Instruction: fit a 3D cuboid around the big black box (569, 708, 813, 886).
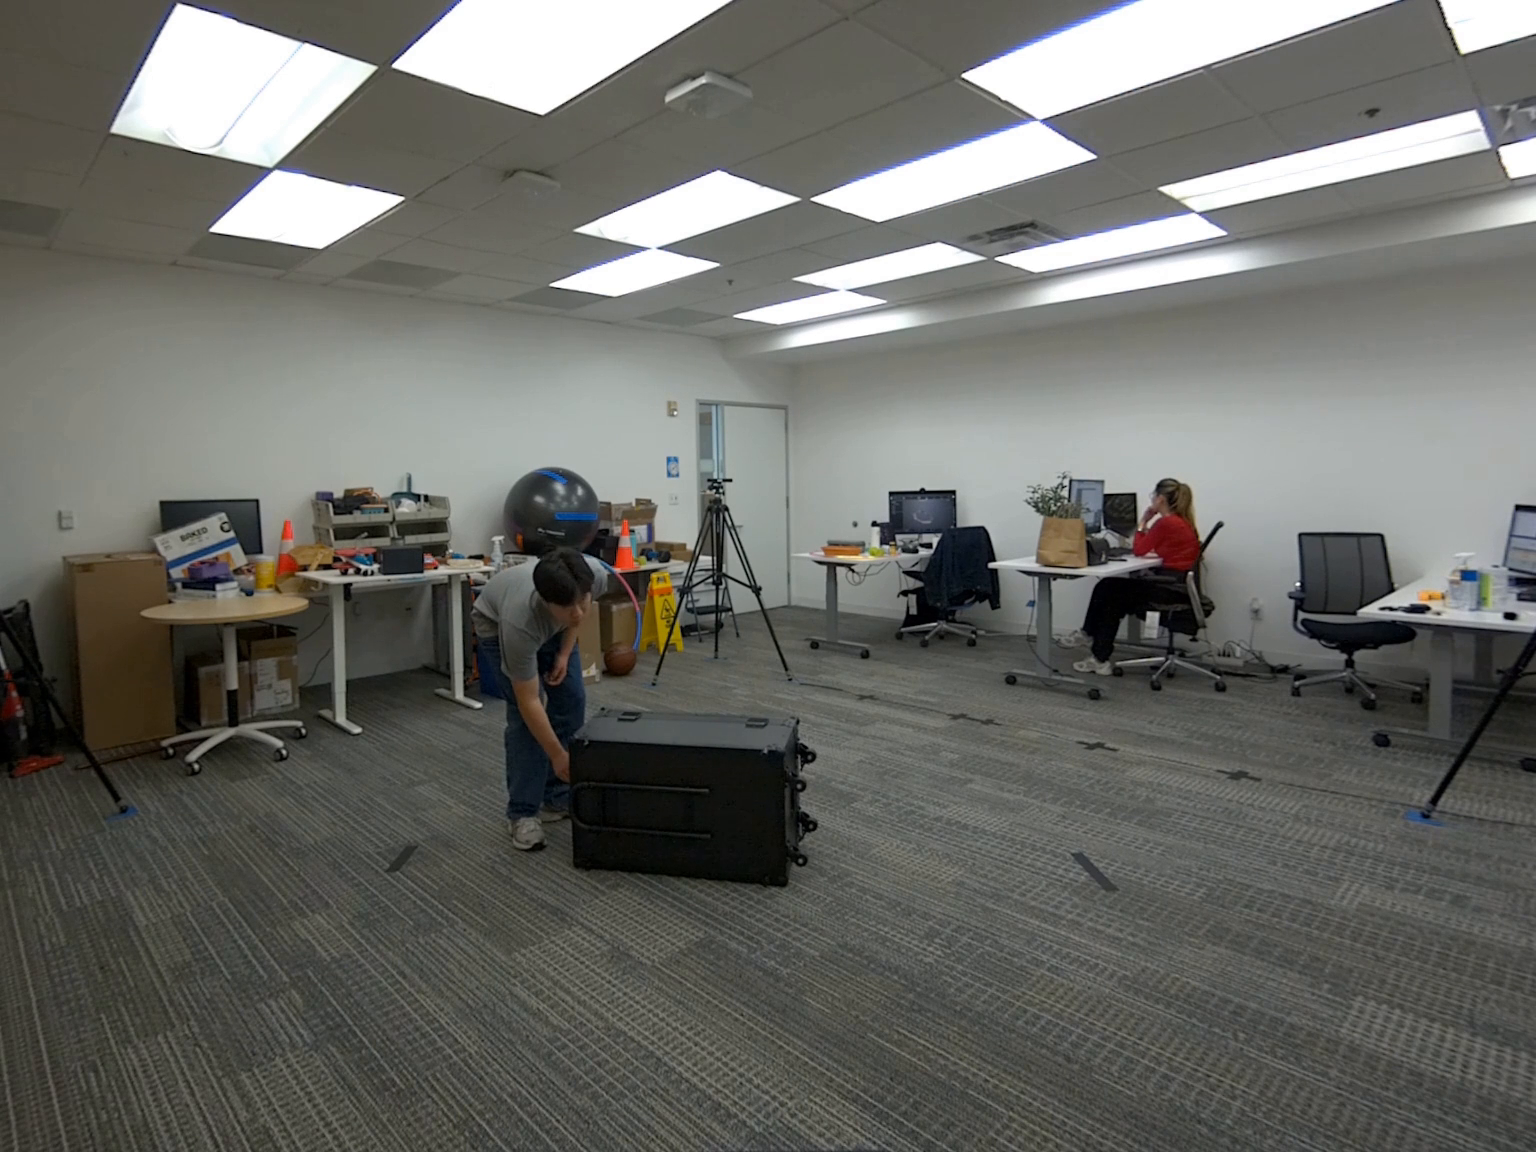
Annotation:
[{"bbox_3d":[-0.326,0.792,3.146,0.873,0.518,0.393,0,6,13],"label":"big black box"}]
